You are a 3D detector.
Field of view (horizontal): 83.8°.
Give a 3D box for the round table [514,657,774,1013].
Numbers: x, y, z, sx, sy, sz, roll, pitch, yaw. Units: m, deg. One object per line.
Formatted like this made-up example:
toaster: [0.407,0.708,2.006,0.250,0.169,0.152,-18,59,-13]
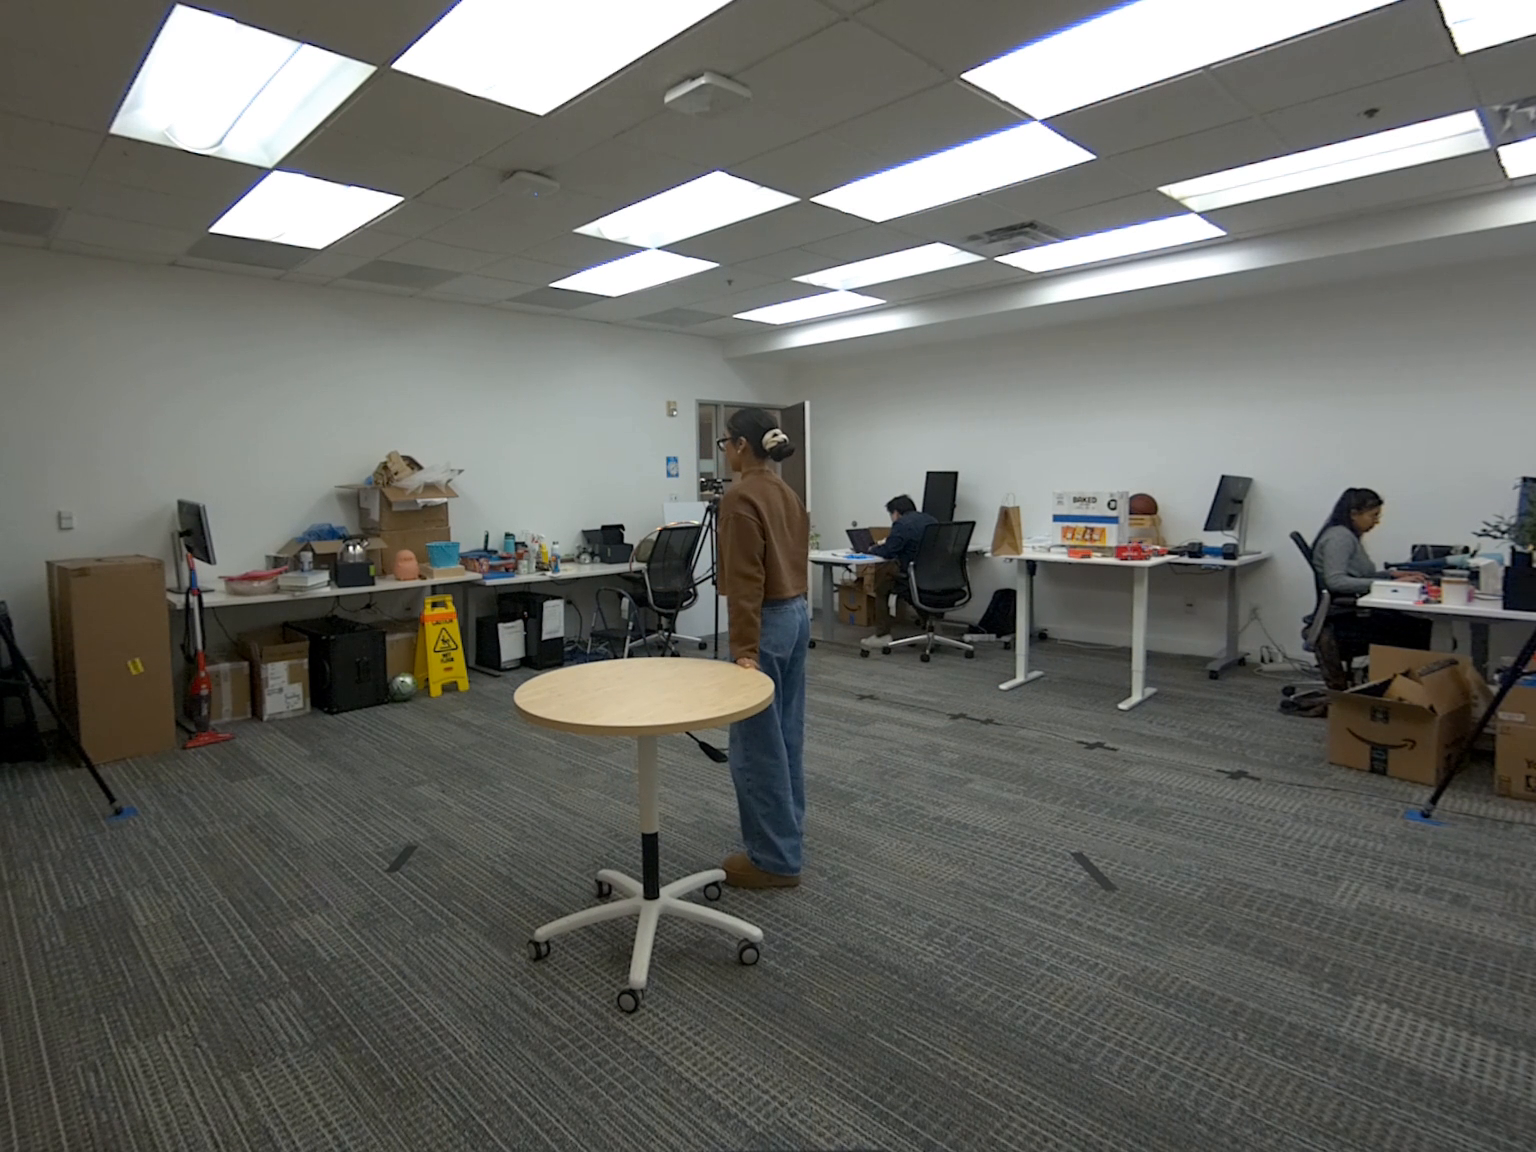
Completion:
round table: [-0.361,0.716,2.584,0.784,0.782,0.790,-1,6,-2]
